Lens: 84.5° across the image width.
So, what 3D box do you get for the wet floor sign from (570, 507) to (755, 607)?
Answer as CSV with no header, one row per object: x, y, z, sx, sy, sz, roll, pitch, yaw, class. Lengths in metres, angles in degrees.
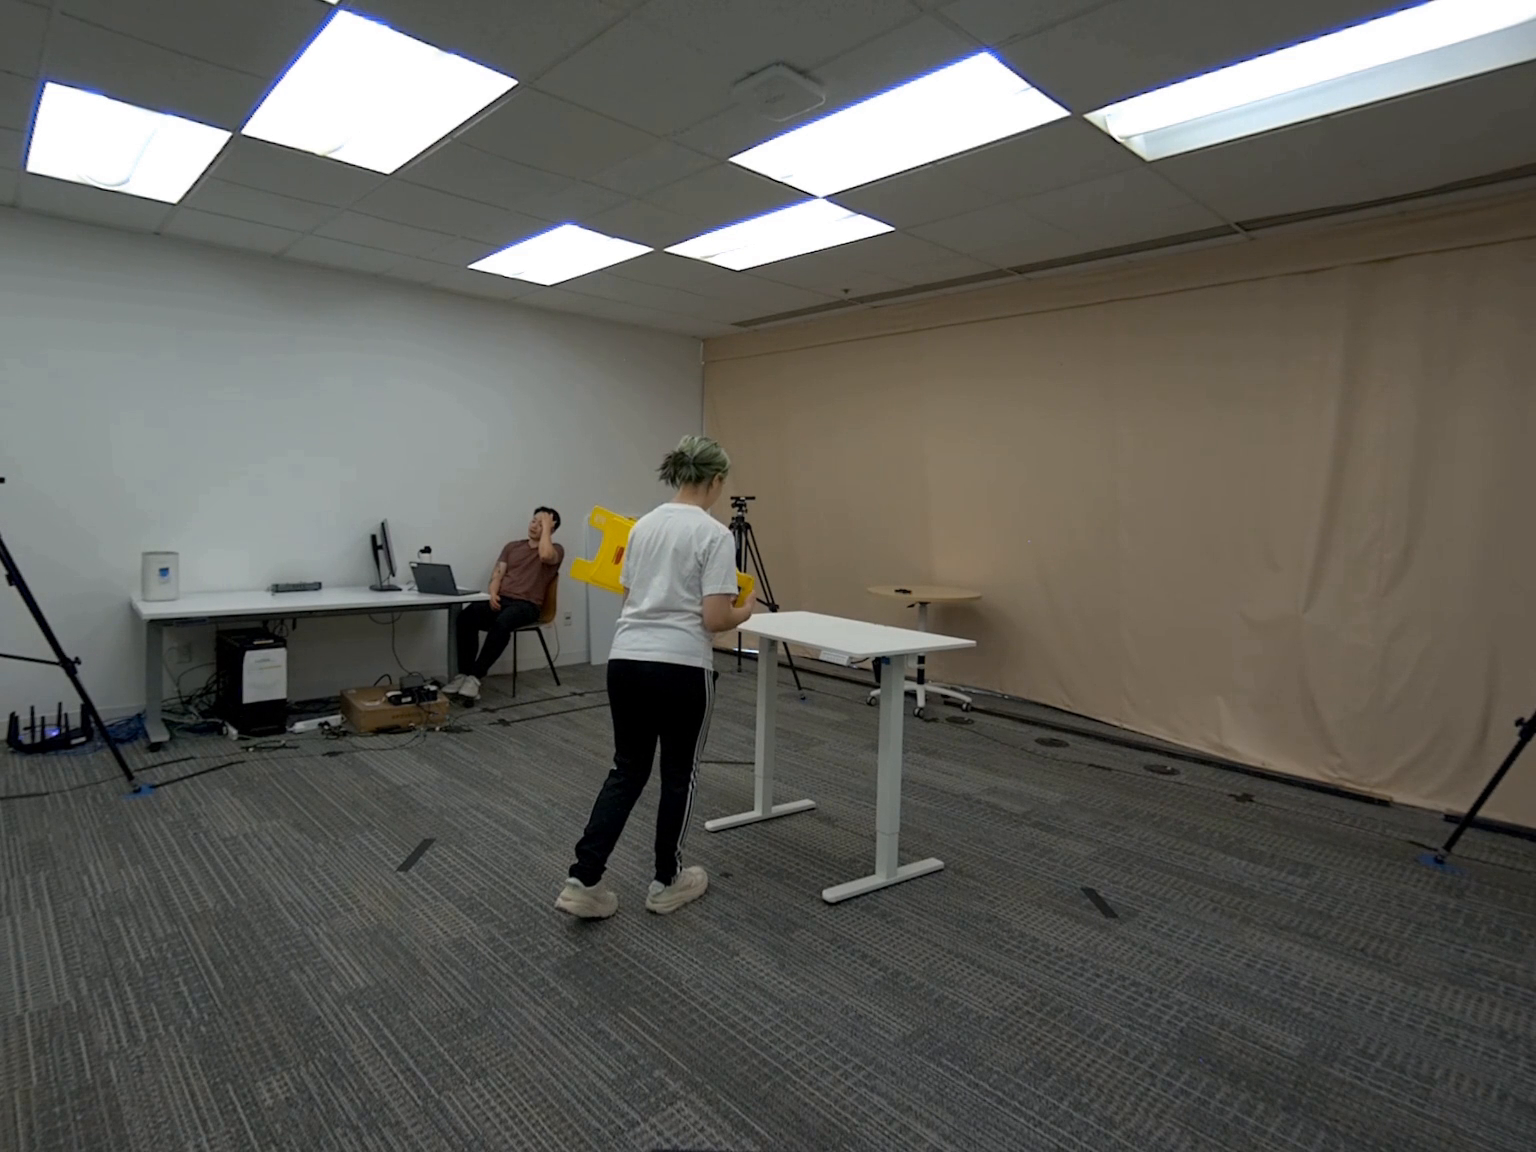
-0.368,-0.001,3.067,0.661,0.282,0.283,22,2,24,wet floor sign
